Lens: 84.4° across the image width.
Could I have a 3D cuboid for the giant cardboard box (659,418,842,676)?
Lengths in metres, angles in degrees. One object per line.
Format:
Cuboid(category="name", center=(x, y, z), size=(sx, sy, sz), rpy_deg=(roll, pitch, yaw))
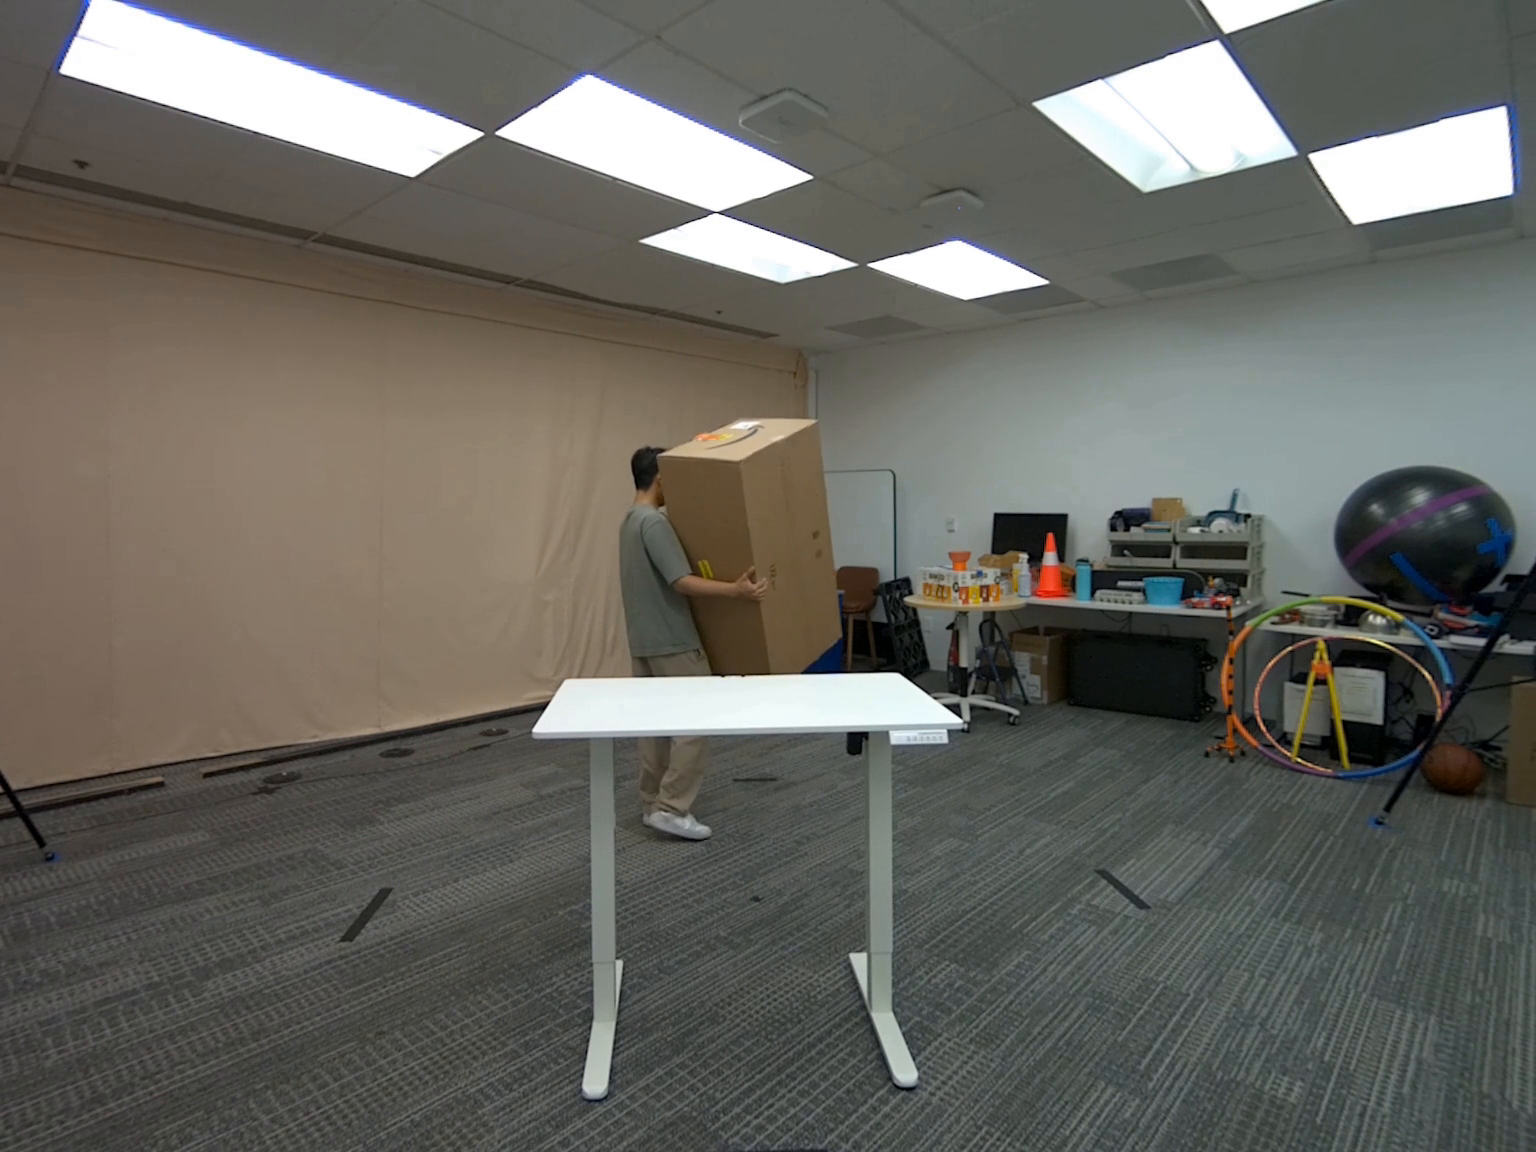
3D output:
Cuboid(category="giant cardboard box", center=(-0.046, -0.097, 3.624), size=(0.440, 1.010, 0.568), rpy_deg=(8, 27, 35))
